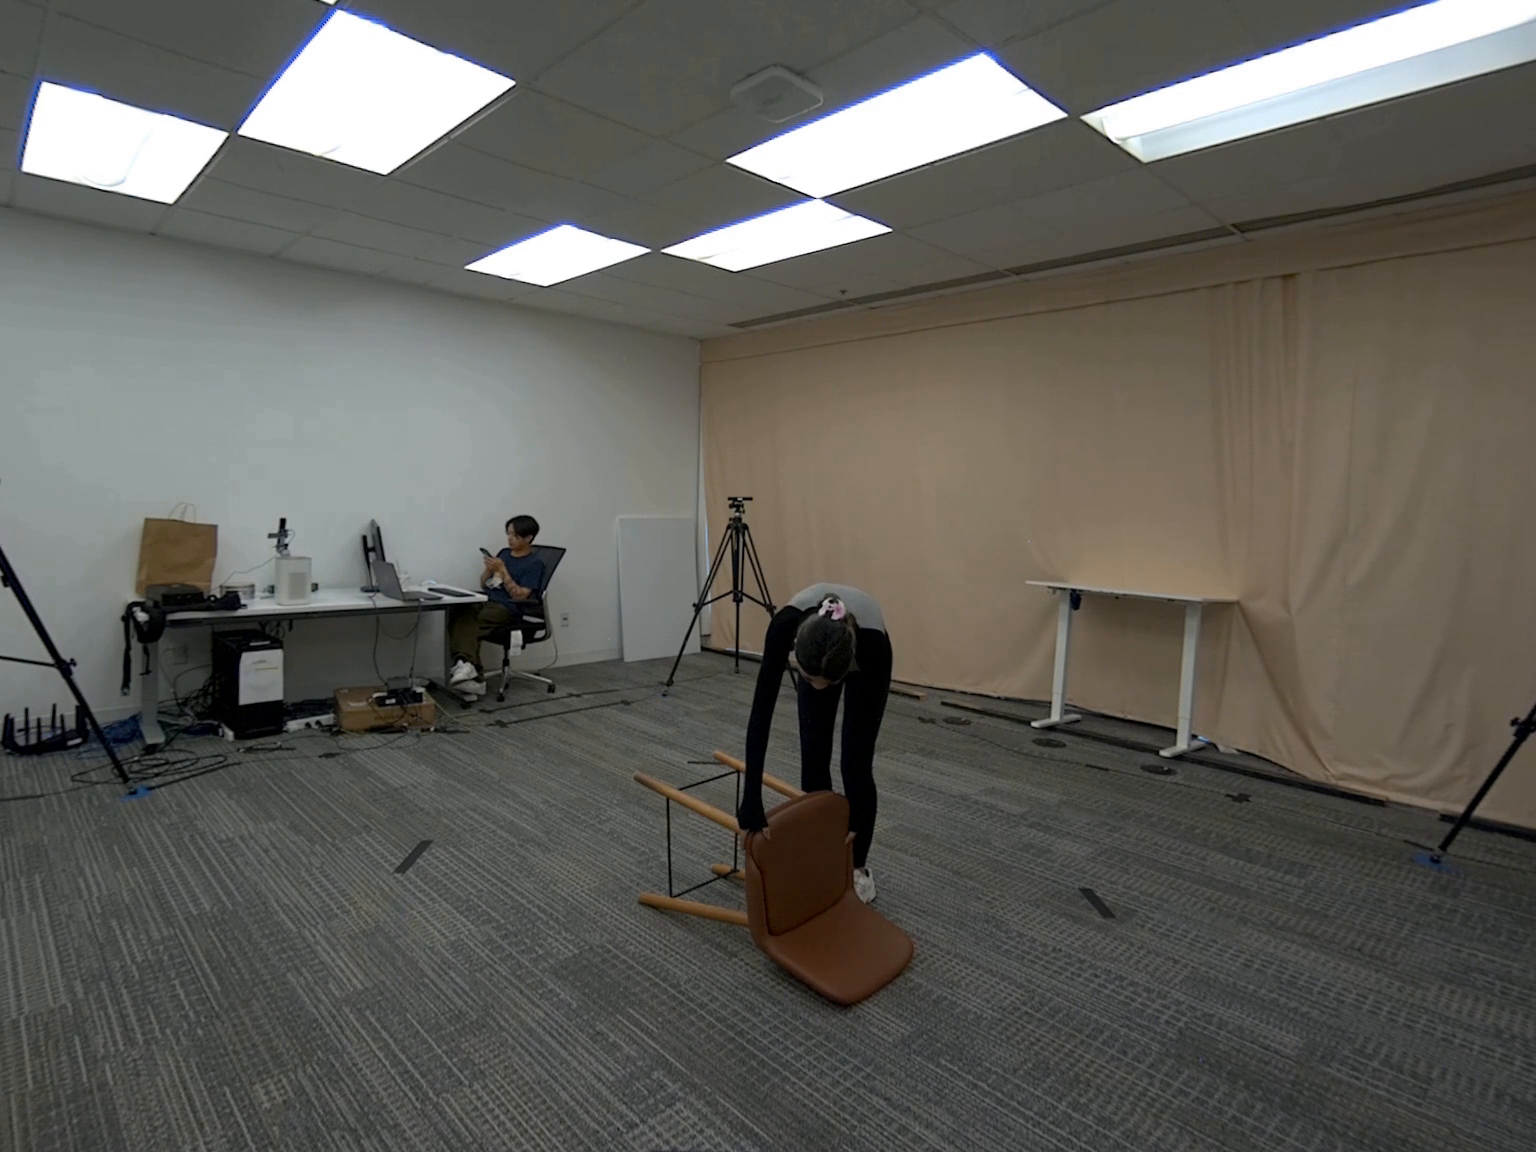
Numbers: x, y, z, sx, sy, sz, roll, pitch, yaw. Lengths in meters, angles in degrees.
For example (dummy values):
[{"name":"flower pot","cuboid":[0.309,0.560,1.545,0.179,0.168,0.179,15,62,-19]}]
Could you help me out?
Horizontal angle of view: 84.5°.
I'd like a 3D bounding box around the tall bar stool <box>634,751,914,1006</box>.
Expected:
[{"name":"tall bar stool","cuboid":[-0.006,0.921,2.698,0.913,0.466,0.446,6,6,43]}]
